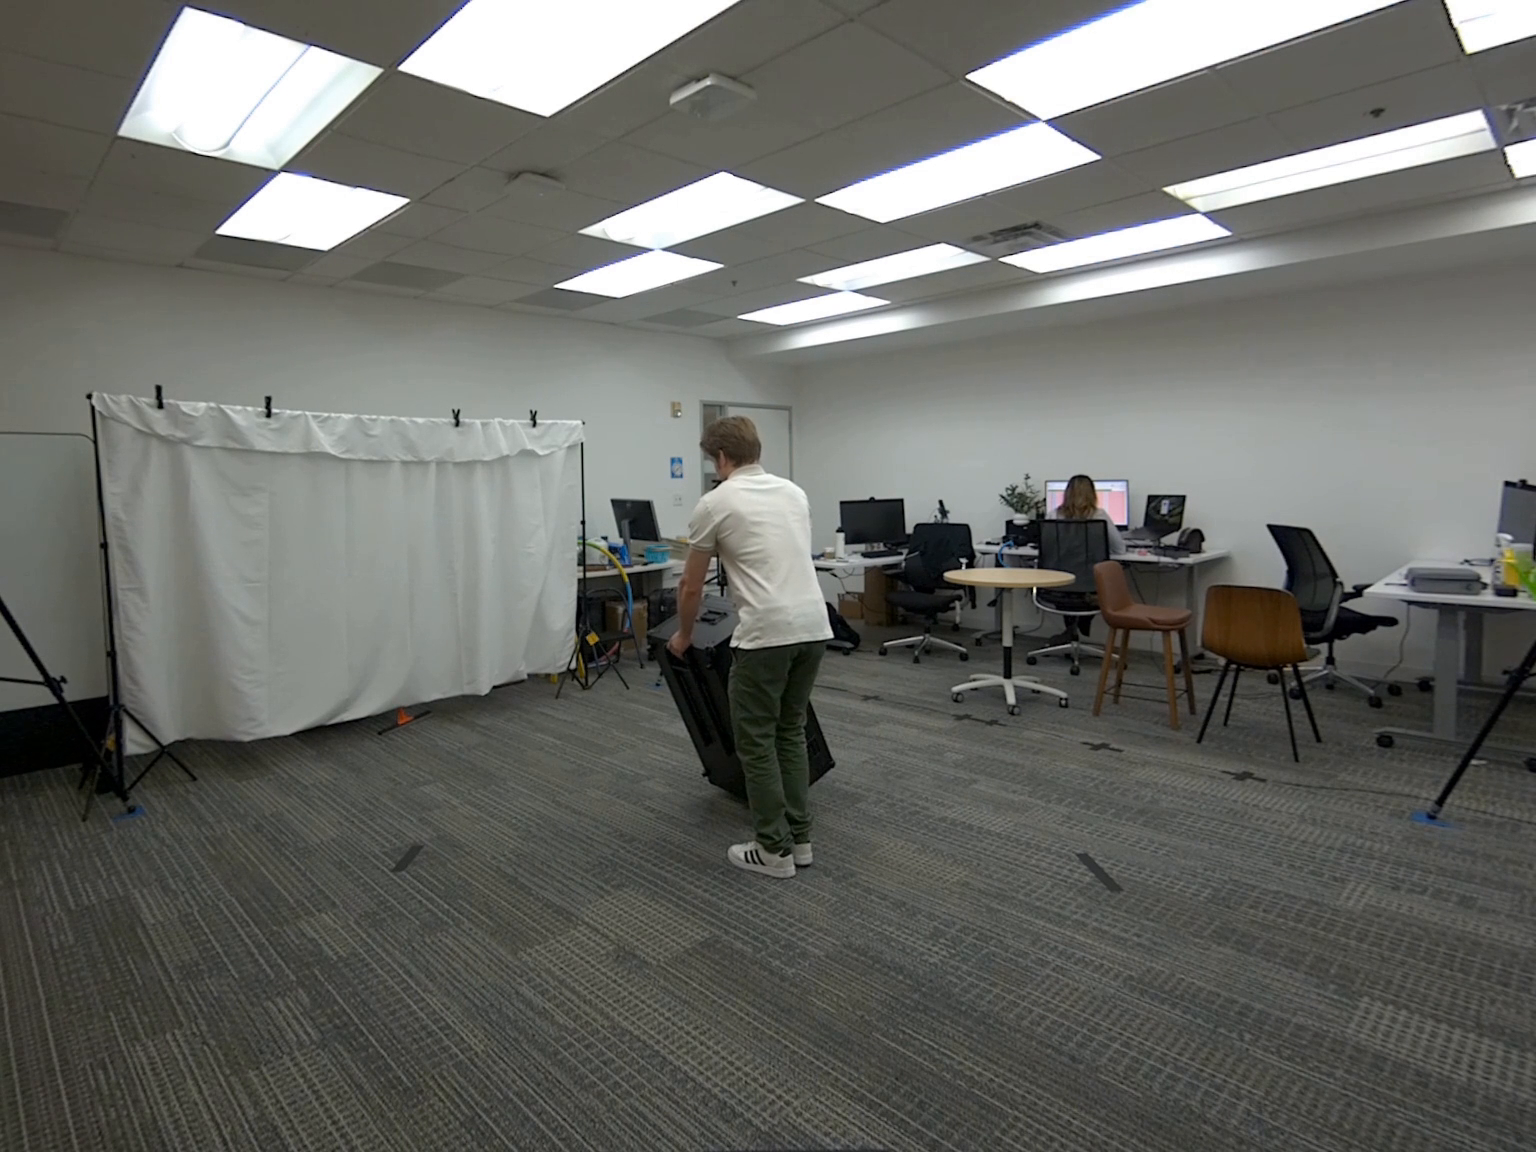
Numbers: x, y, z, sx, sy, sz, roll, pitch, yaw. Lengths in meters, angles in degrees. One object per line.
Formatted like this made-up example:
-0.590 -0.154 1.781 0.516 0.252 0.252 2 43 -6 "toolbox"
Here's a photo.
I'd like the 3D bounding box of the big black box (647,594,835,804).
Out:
-0.105 0.558 3.622 0.381 0.852 0.539 -31 20 -31 "big black box"
